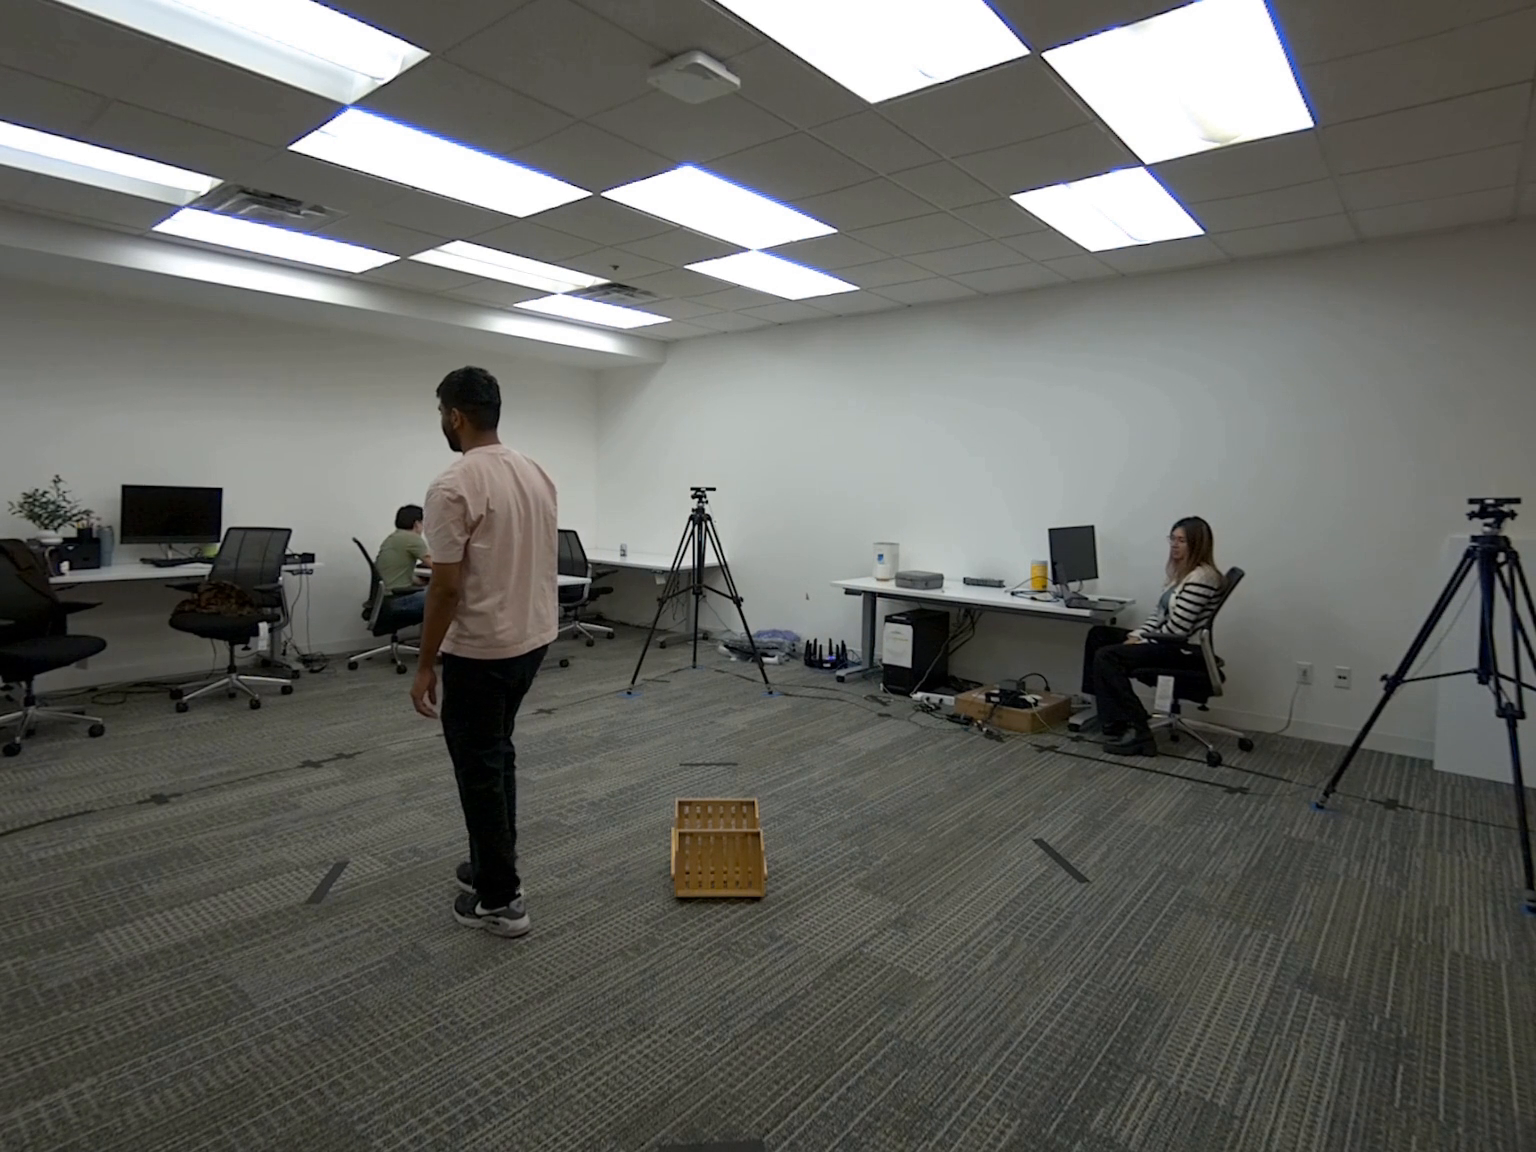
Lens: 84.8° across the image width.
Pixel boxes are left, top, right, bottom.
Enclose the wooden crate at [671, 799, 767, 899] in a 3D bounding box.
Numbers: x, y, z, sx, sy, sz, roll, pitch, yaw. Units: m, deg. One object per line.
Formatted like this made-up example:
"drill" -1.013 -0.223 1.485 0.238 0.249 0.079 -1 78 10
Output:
"wooden crate" -0.187 0.945 2.998 0.323 0.306 0.271 1 -12 -4
